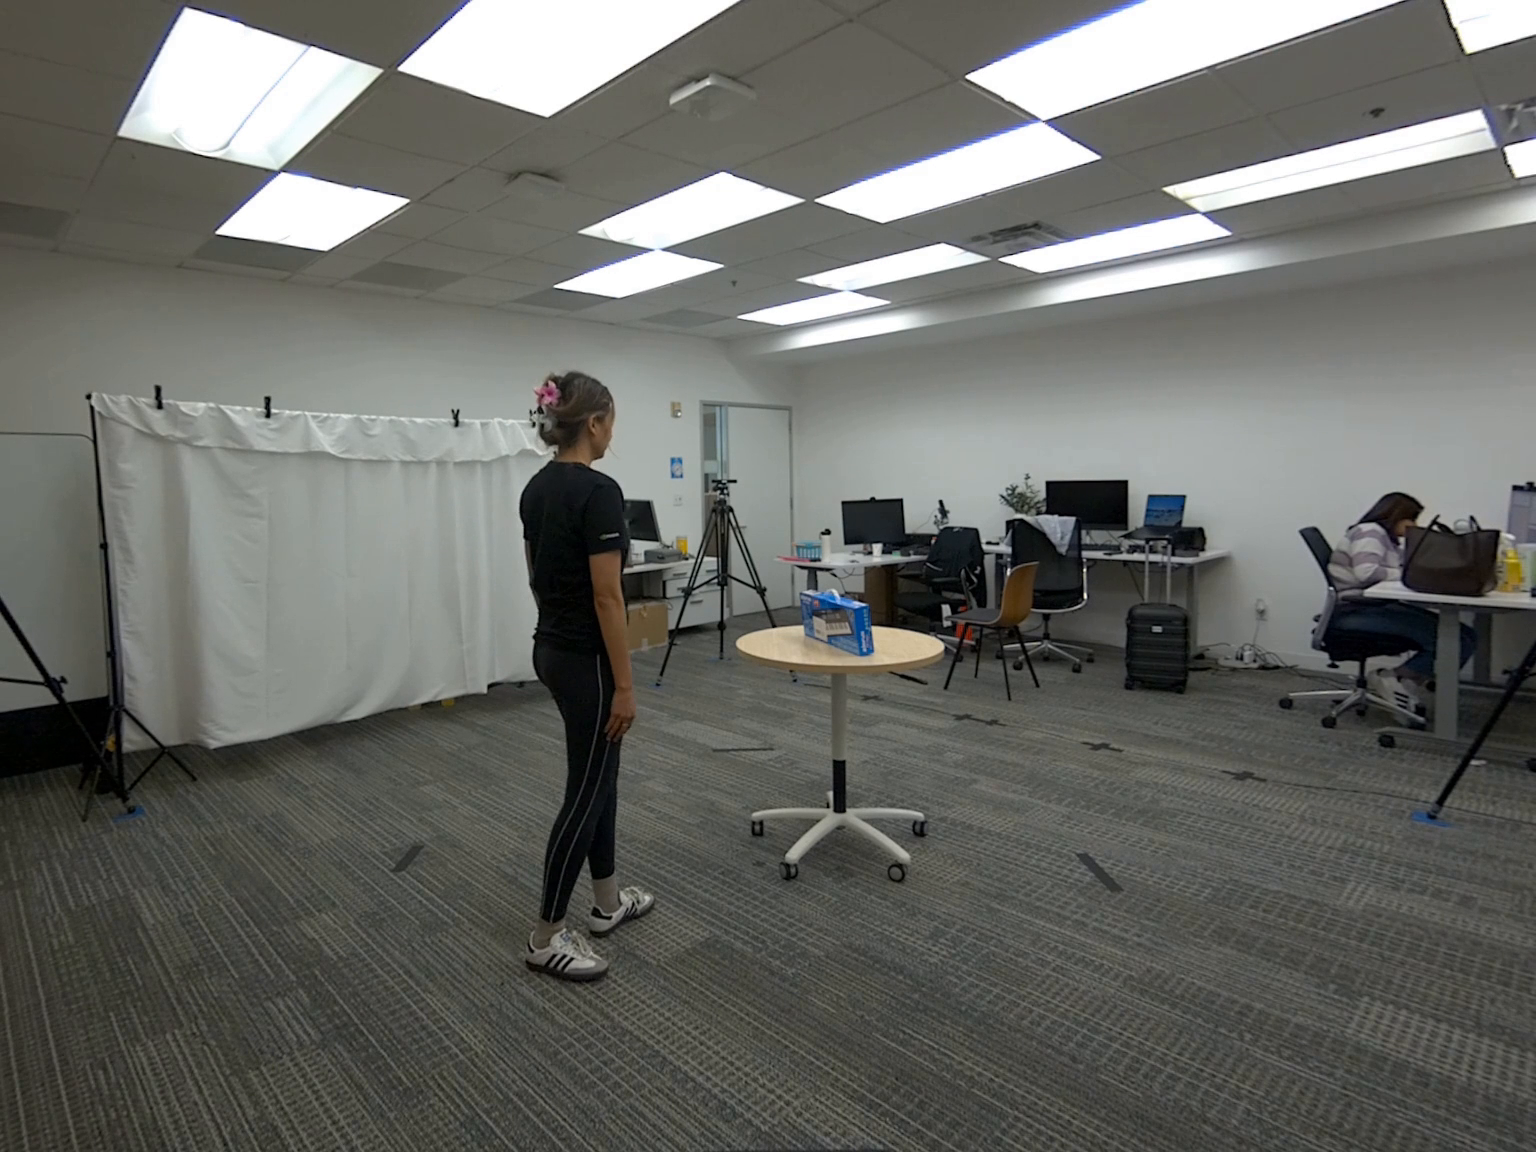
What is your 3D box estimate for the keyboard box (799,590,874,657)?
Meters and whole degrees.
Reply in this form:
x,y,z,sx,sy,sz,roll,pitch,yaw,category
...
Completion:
x,y,z,sx,sy,sz,roll,pitch,yaw,category
0.247,0.167,3.147,0.058,0.174,0.447,-10,9,-21,keyboard box
